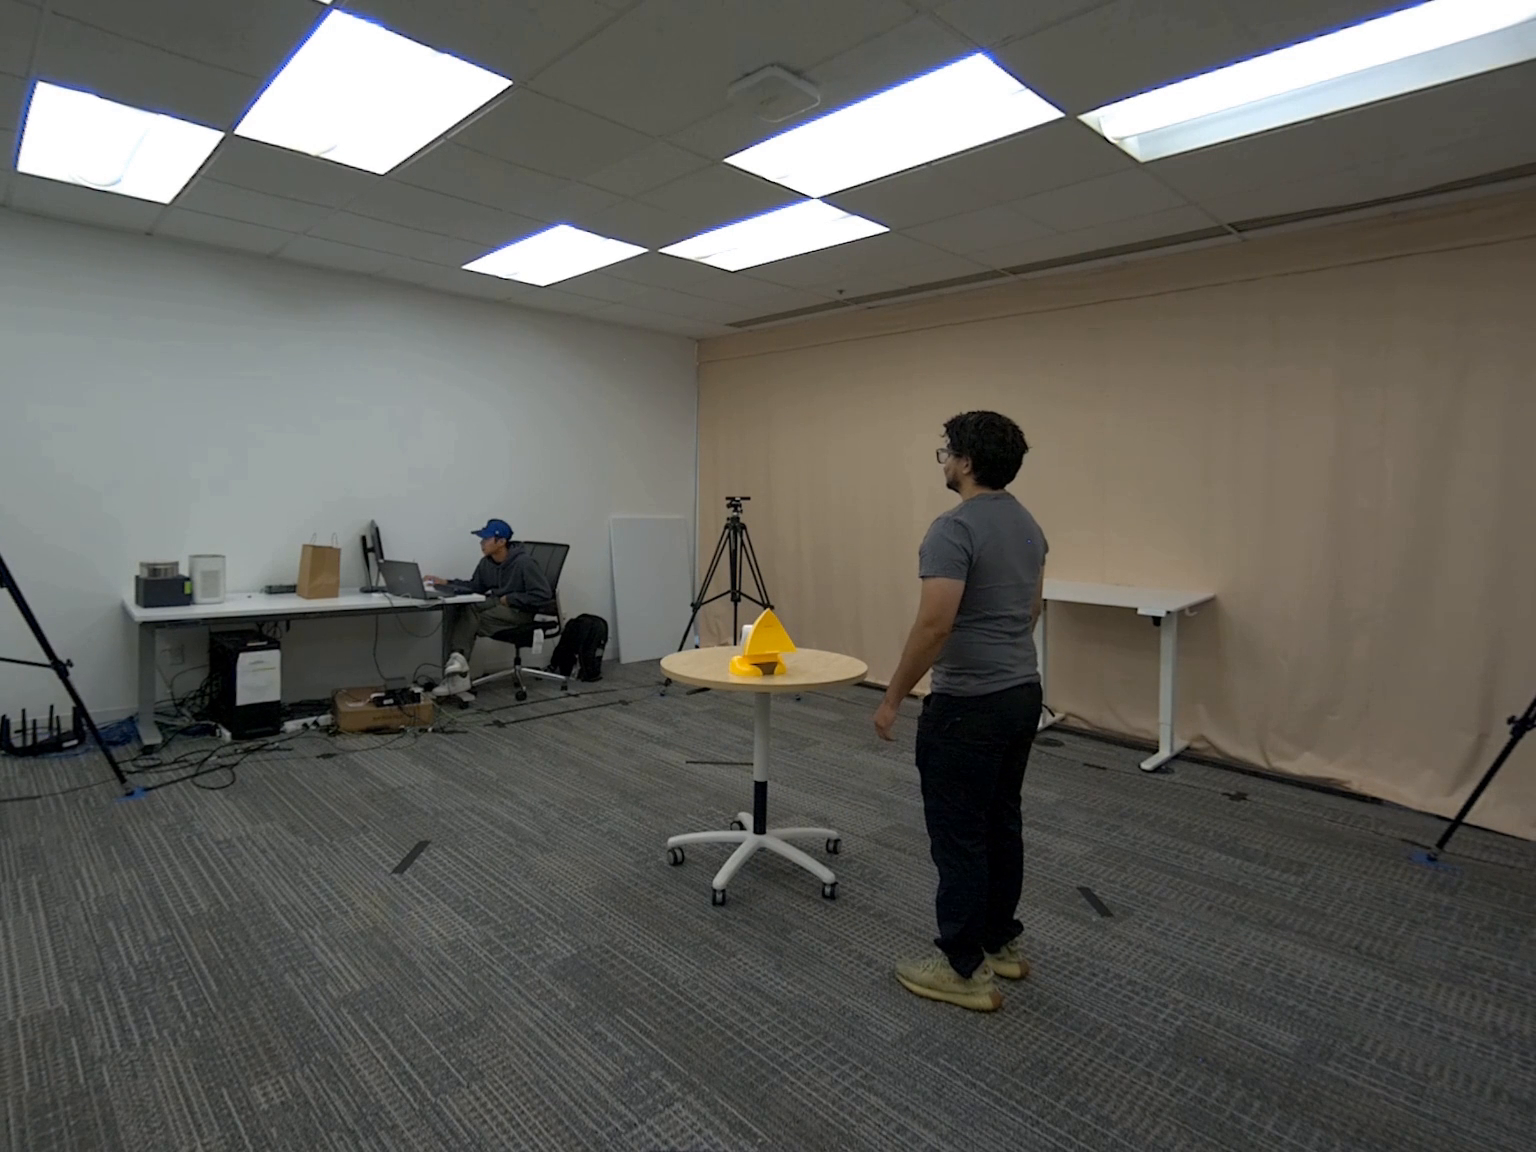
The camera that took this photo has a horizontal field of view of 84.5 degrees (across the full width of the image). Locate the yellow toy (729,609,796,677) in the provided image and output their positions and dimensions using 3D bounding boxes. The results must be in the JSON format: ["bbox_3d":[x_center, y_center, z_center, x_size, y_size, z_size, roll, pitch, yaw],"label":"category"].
[{"bbox_3d":[-0.039,0.223,2.956,0.201,0.230,0.197,-1,4,-28],"label":"yellow toy"}]
